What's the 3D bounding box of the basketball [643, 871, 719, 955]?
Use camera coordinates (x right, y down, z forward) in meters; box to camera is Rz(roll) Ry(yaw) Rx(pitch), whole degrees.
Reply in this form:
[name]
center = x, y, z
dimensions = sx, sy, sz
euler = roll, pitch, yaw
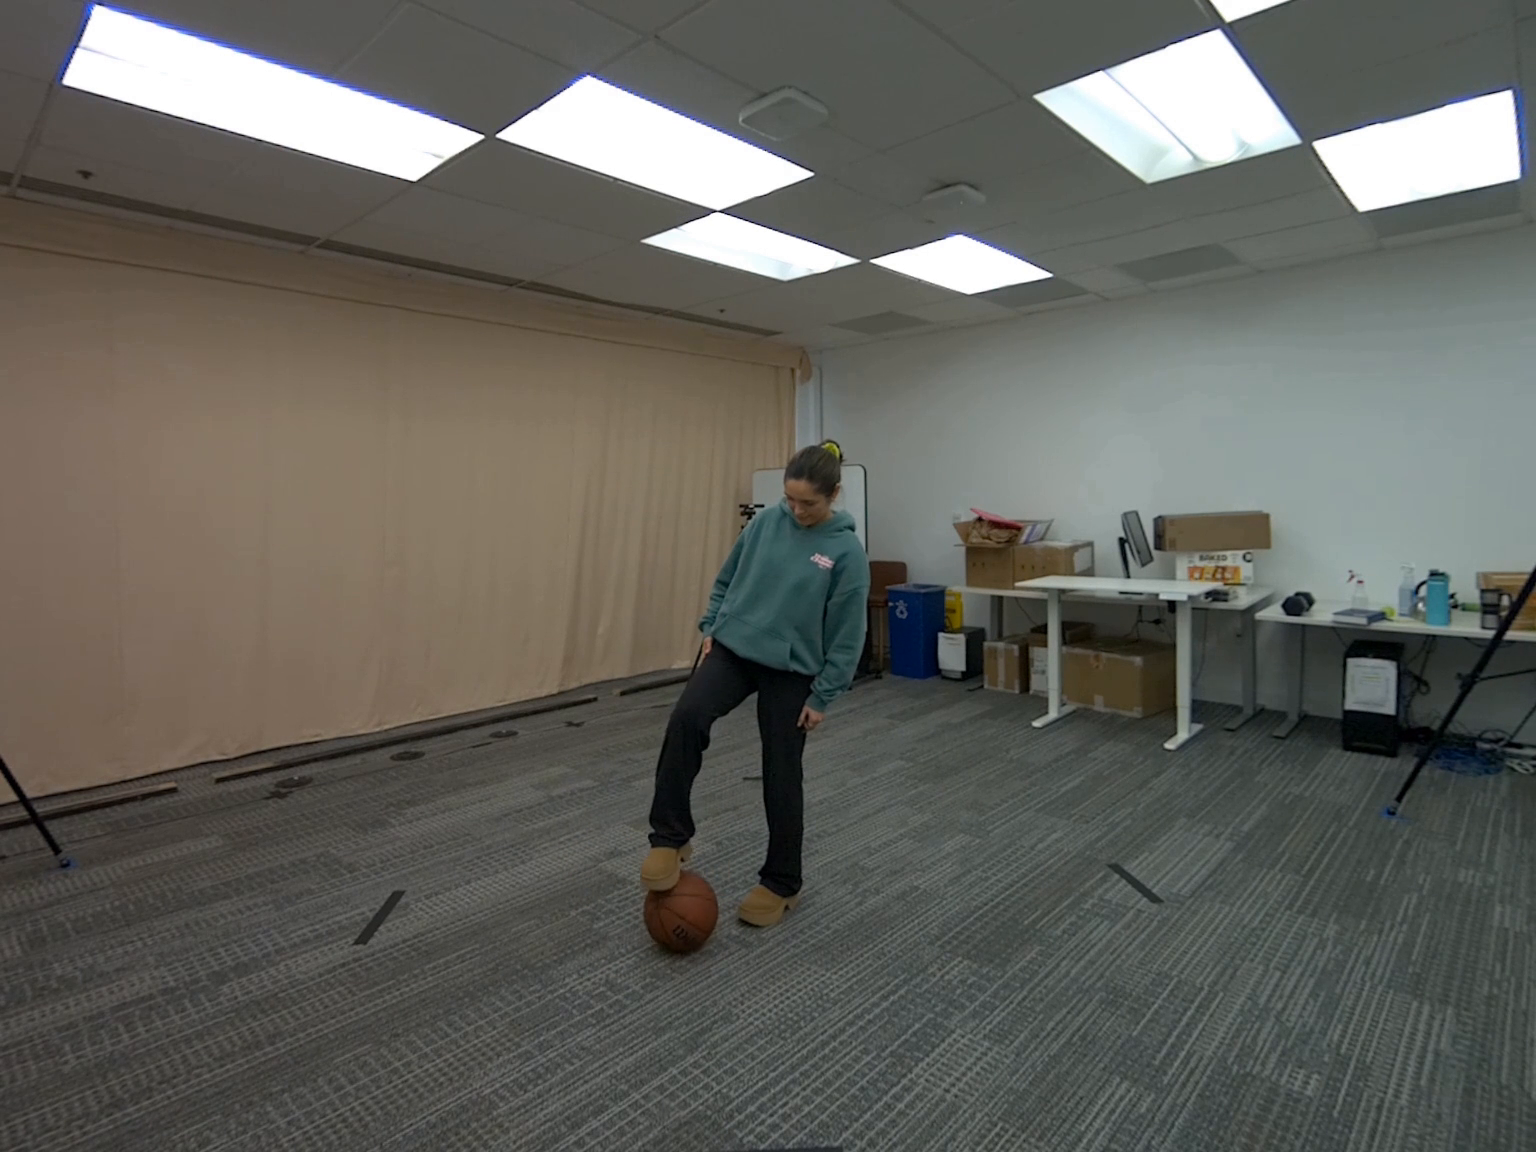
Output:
[basketball]
center = -0.265, 1.056, 2.653
dimensions = 0.236, 0.235, 0.237
euler = -1, 4, -2
